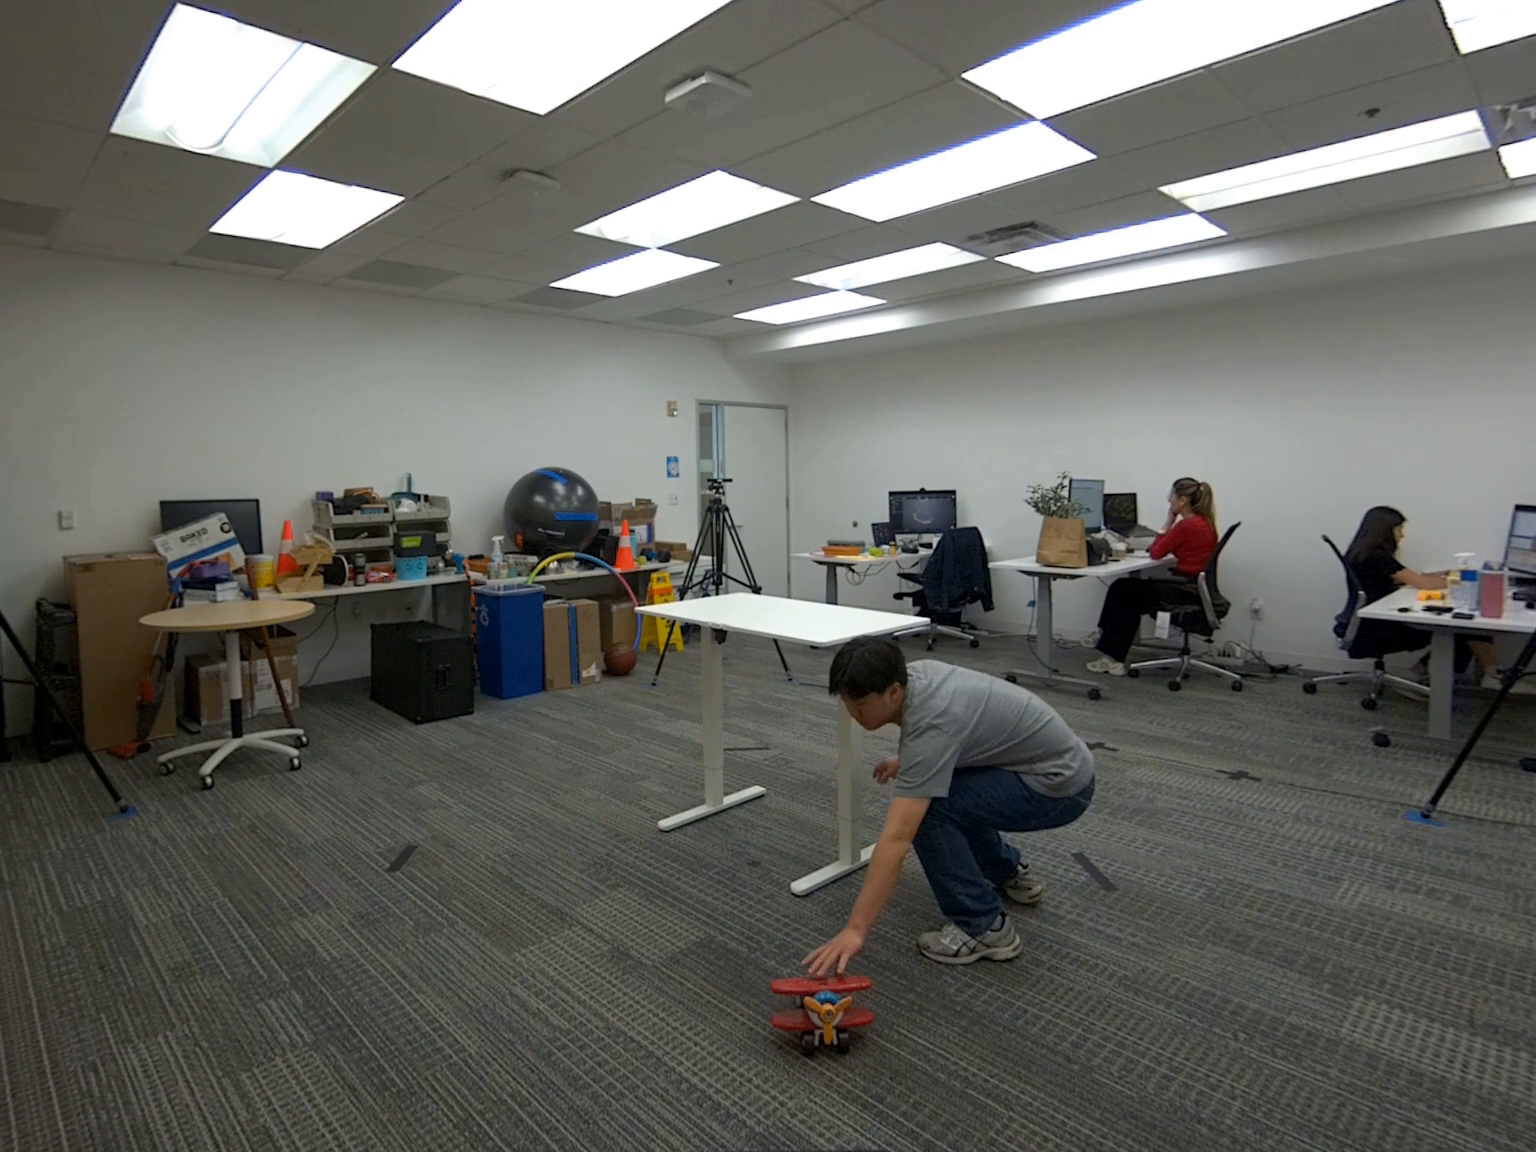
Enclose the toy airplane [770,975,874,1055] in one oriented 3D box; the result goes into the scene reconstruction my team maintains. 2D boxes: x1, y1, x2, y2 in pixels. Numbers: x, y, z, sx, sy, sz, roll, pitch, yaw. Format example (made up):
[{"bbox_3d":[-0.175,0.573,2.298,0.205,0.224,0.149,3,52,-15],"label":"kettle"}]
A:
[{"bbox_3d":[0.116,1.076,2.158,0.245,0.156,0.267,-3,7,-34],"label":"toy airplane"}]
